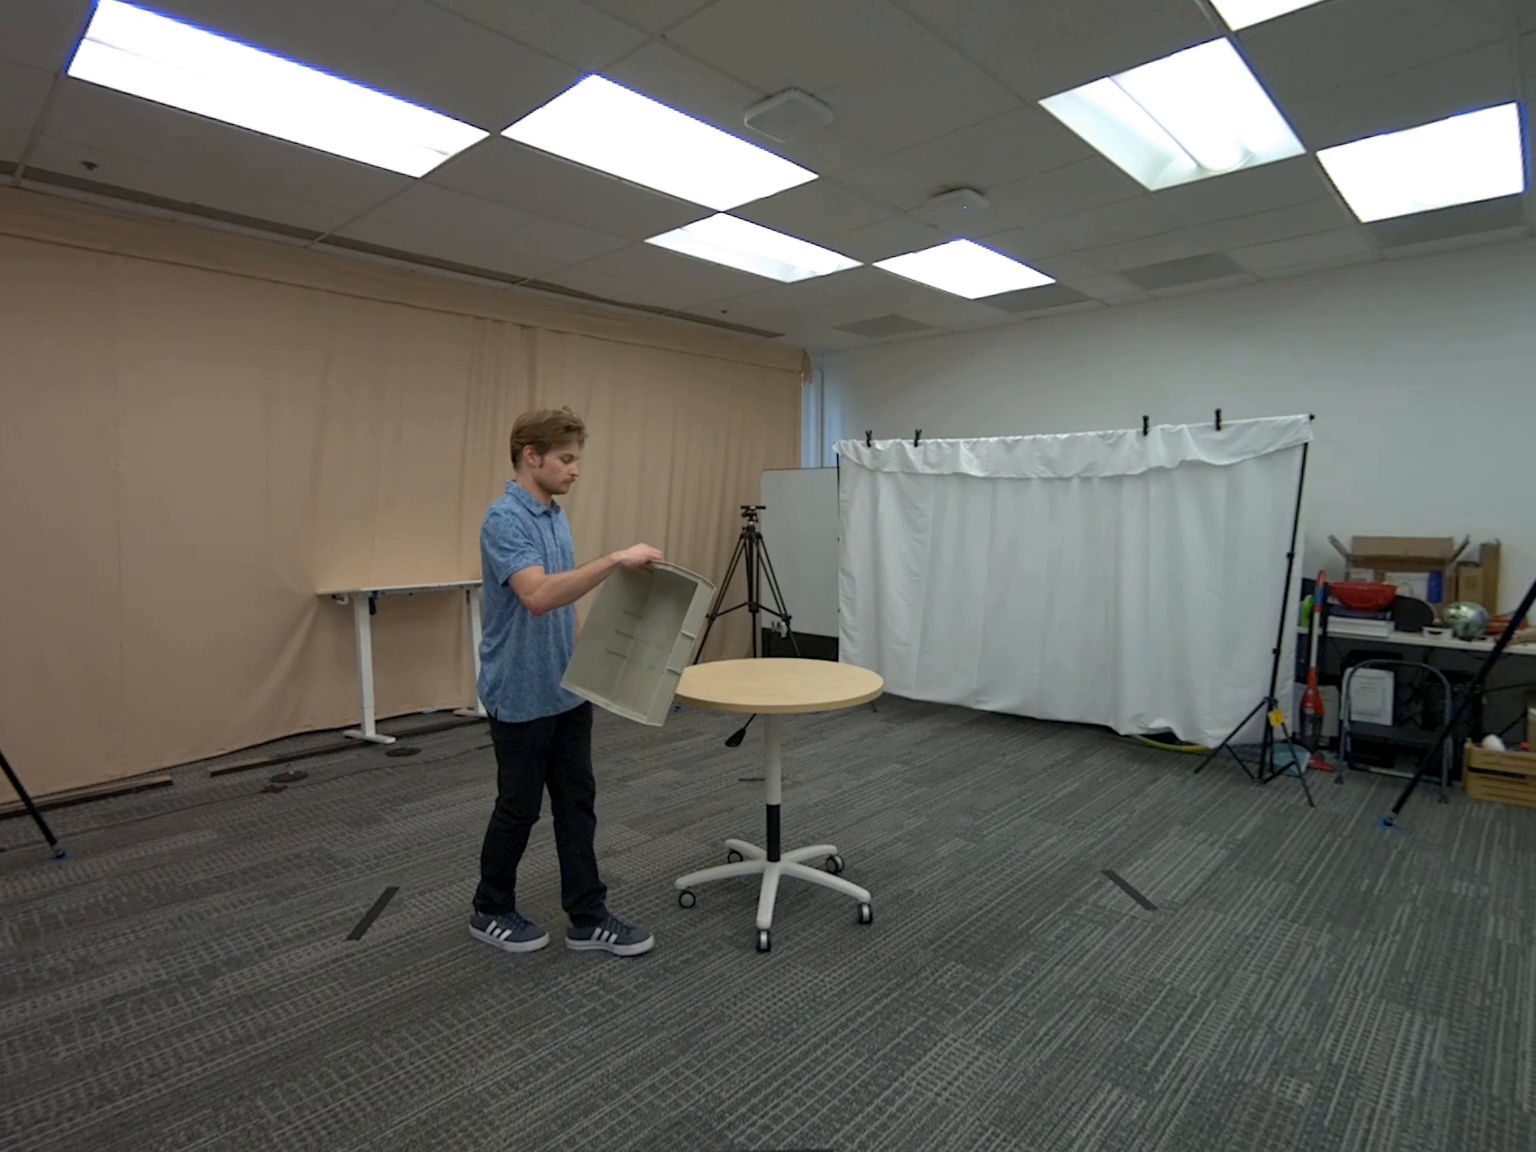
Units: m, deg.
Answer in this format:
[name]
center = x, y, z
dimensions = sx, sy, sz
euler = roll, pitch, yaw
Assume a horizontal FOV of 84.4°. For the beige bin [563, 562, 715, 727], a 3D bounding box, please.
[beige bin]
center = -0.357, 0.179, 2.385
dimensions = 0.183, 0.423, 0.389
euler = 26, -11, -34
